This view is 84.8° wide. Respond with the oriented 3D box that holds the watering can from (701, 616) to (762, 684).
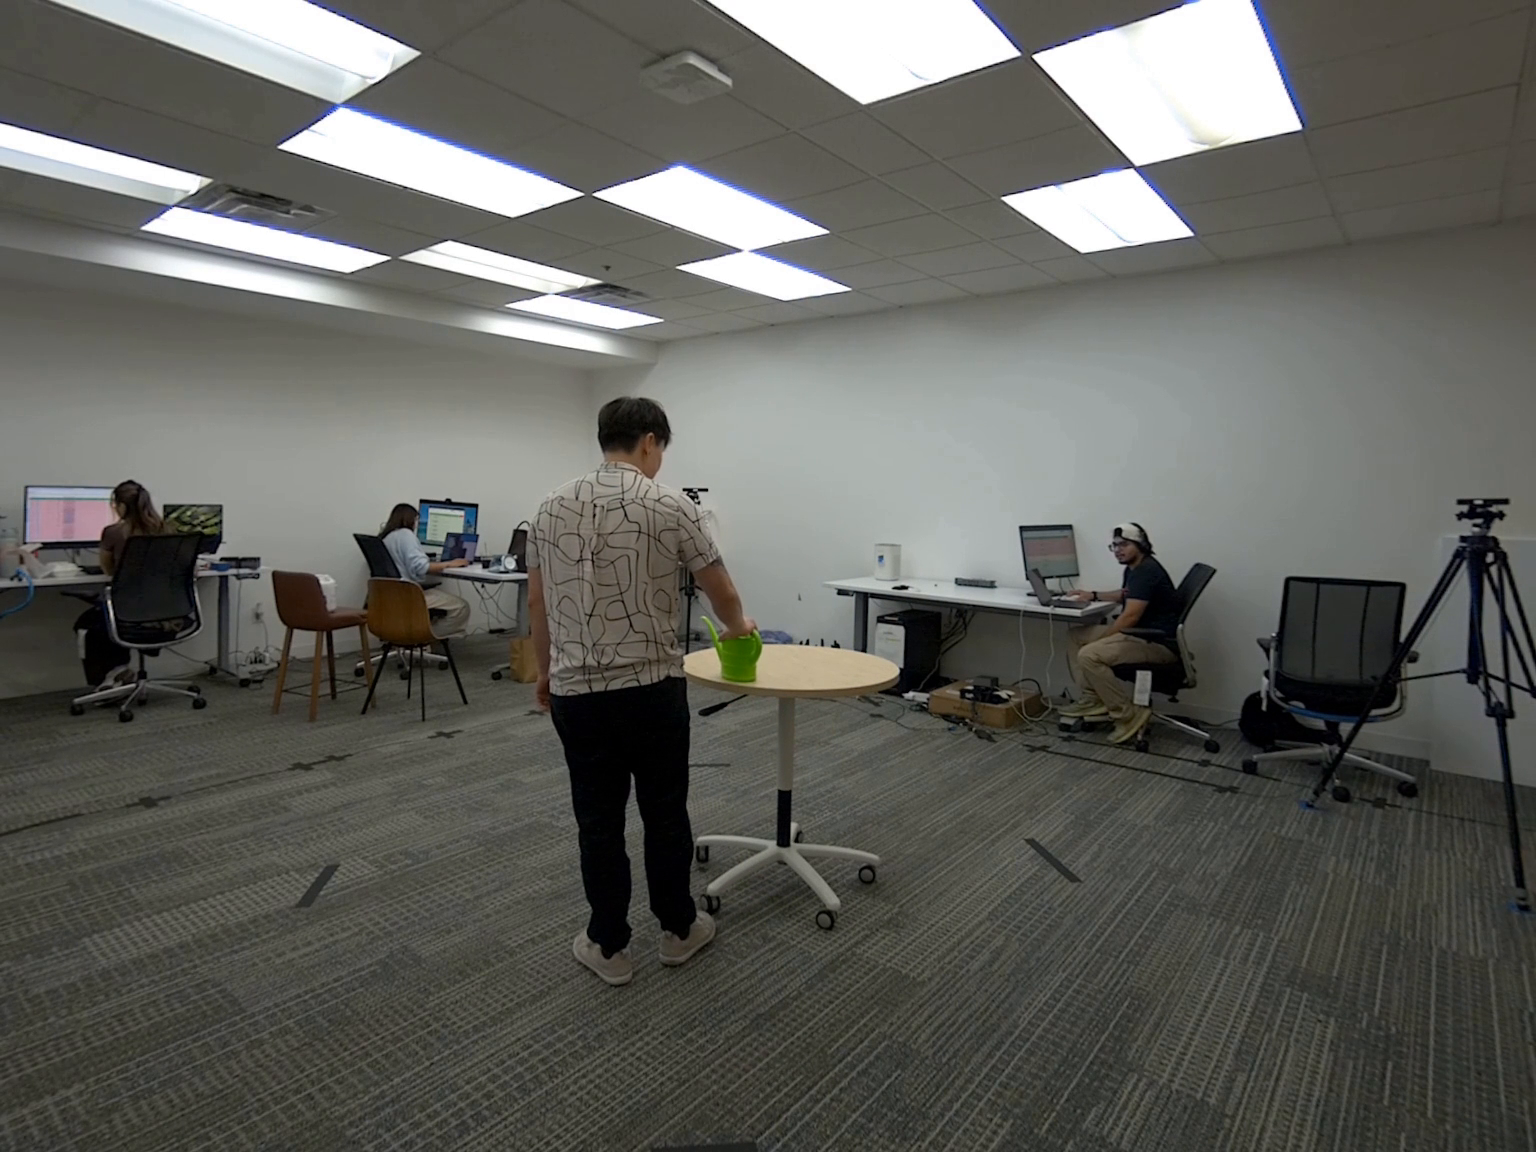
[{"bbox_3d":[-0.126,0.236,2.765,0.095,0.176,0.288,1,6,-33],"label":"watering can"}]
